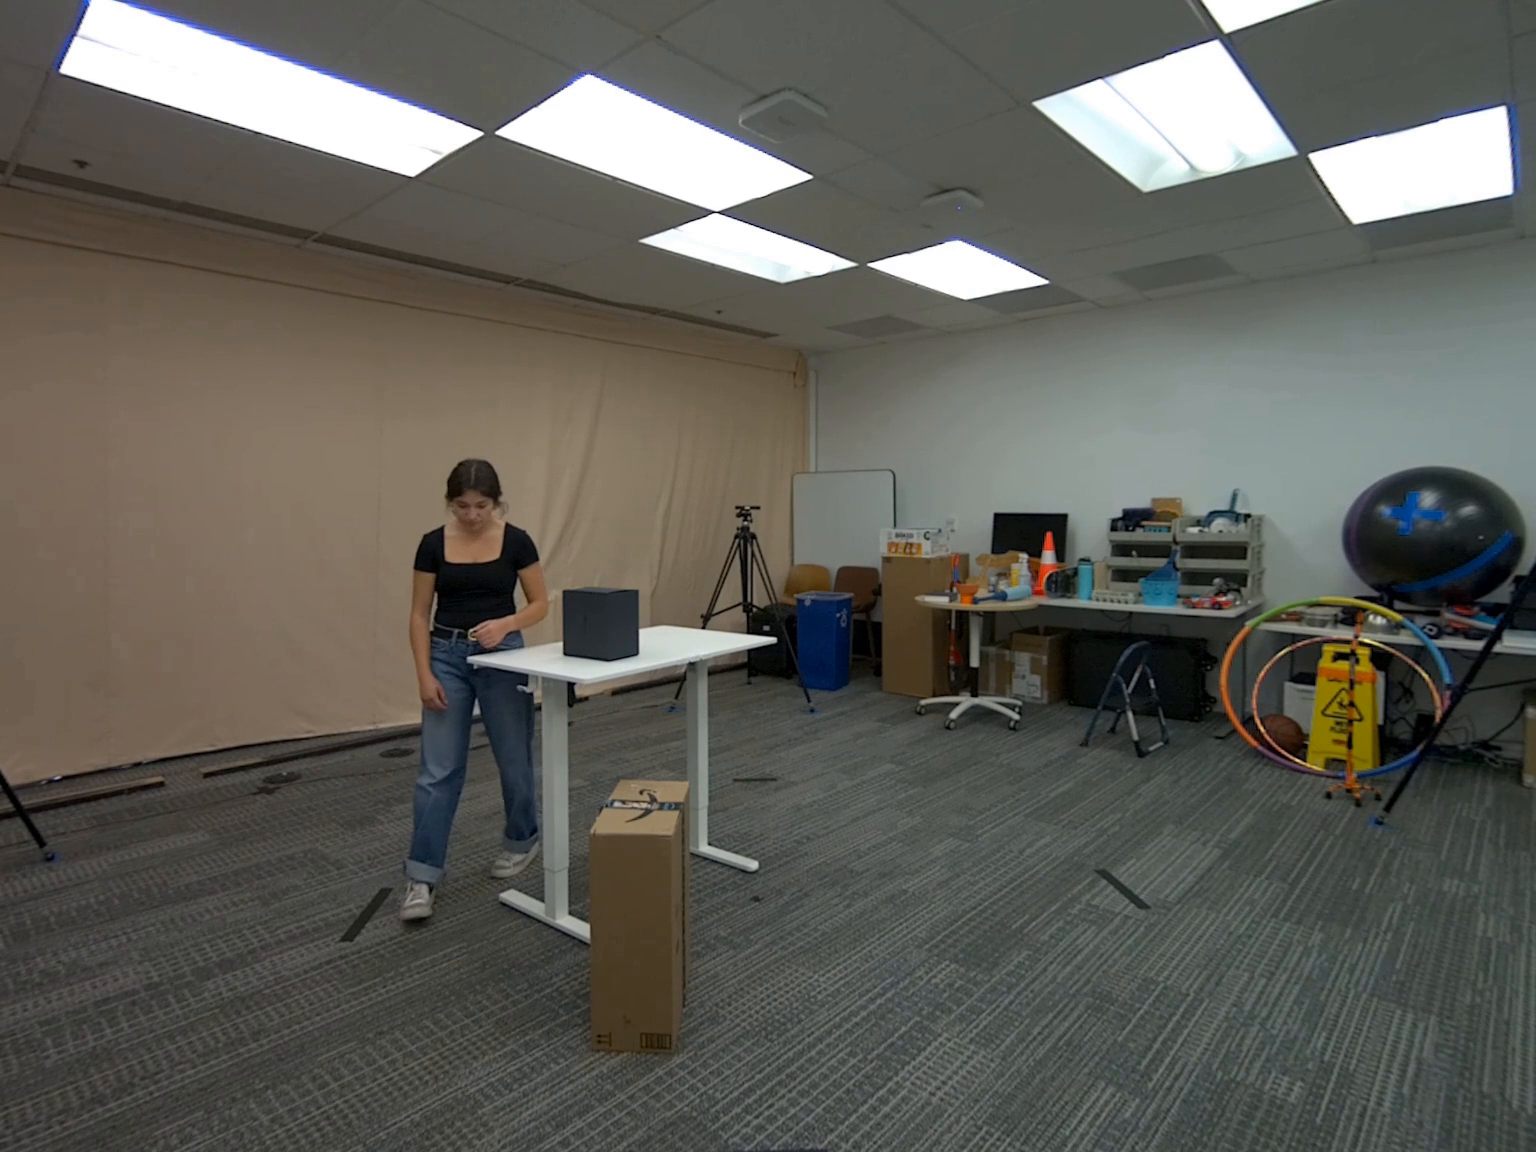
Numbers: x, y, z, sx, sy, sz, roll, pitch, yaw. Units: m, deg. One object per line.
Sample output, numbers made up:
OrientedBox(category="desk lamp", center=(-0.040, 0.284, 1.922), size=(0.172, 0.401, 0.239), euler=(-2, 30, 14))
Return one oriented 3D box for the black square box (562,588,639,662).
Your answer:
OrientedBox(category="black square box", center=(-0.579, 0.159, 2.881), size=(0.224, 0.227, 0.151), euler=(3, 5, 37))
